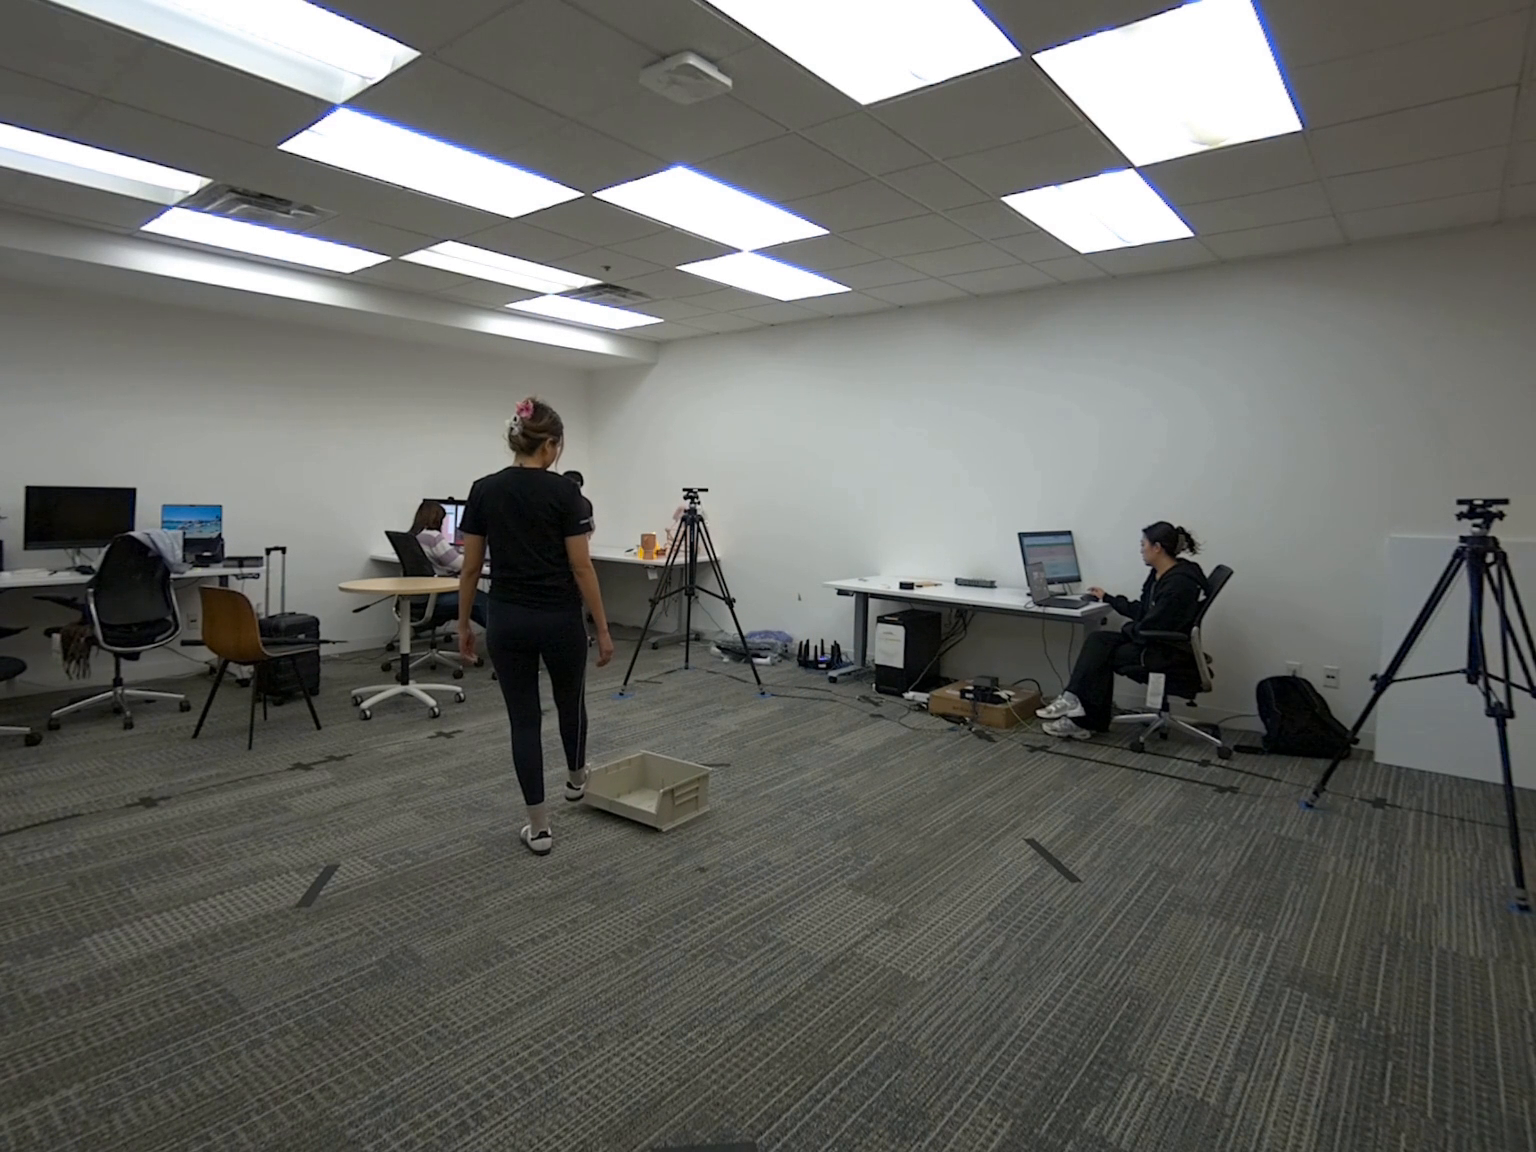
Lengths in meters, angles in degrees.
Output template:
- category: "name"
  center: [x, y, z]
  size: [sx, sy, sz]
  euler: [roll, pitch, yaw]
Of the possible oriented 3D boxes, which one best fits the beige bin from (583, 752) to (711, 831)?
- category: "beige bin"
  center: [-0.530, 0.919, 3.663]
  size: [0.436, 0.188, 0.366]
  euler: [4, 5, 35]
